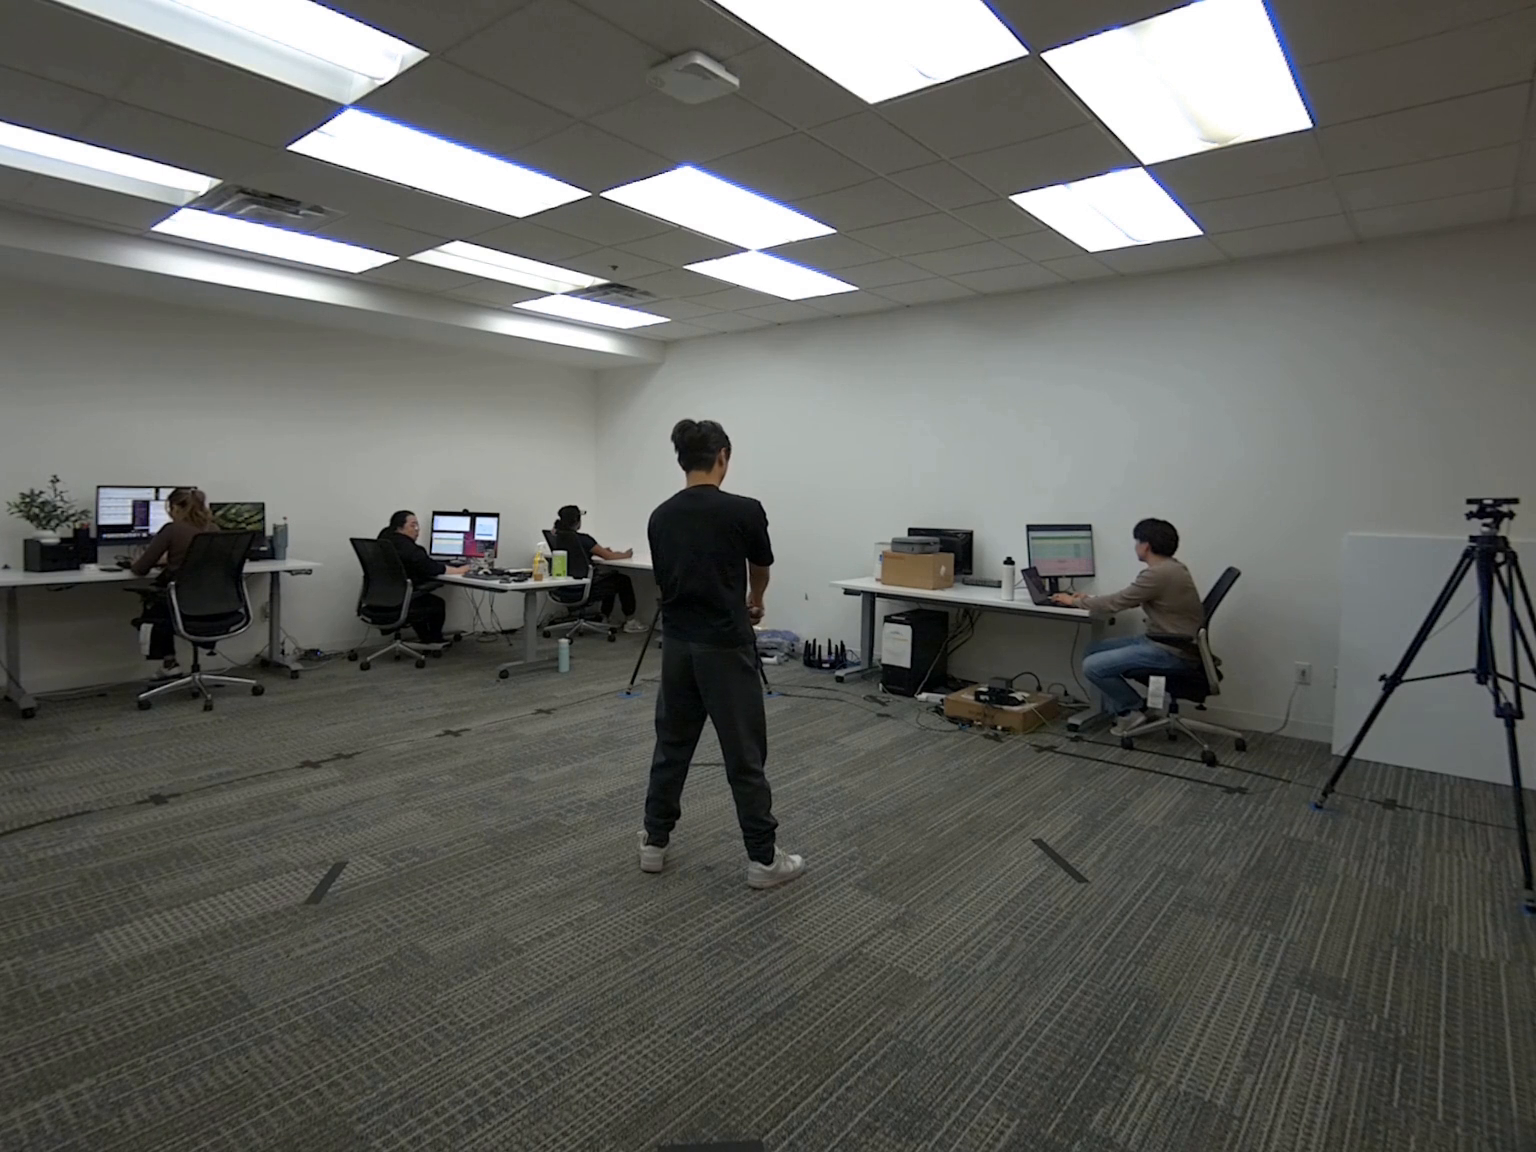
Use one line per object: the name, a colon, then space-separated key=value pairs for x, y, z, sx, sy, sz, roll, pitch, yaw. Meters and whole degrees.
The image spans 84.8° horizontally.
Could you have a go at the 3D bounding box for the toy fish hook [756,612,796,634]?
toy fish hook: x=-0.072 y=0.186 z=3.541 sx=0.221 sy=0.048 sz=0.511 roll=17 pitch=-9 yaw=-13
